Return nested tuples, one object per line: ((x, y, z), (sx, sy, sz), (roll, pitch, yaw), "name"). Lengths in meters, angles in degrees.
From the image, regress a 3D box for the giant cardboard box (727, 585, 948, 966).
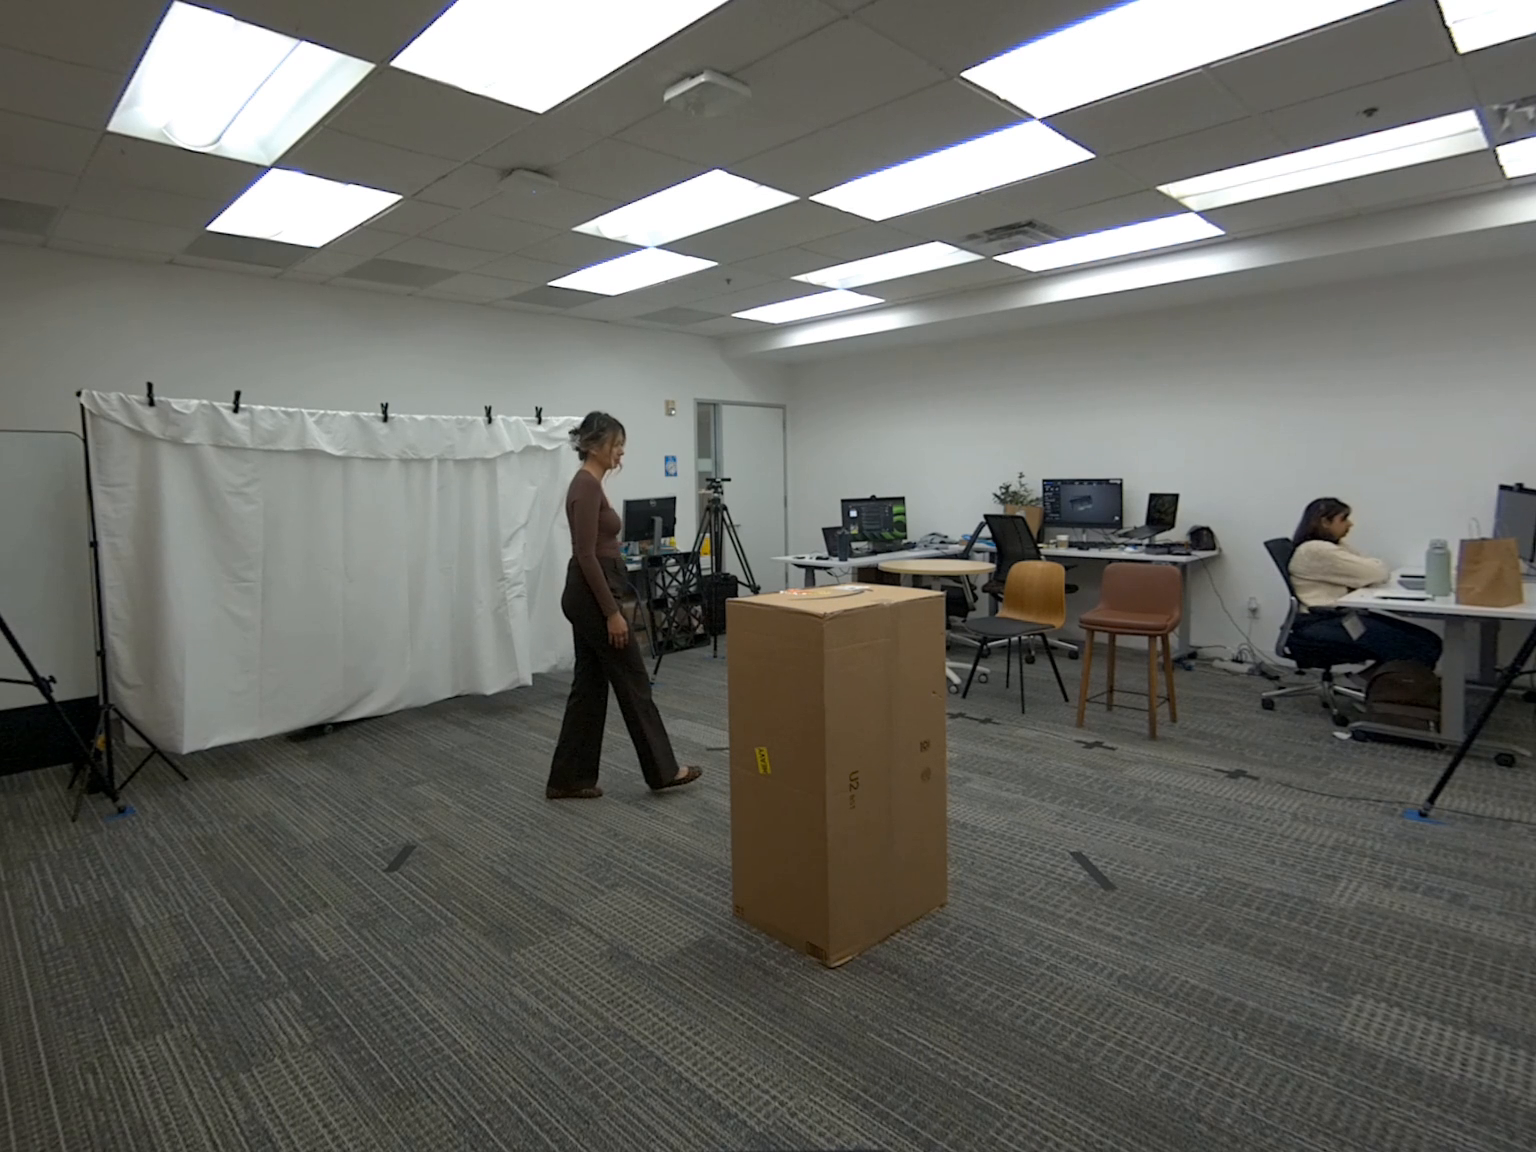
((0.228, 0.570, 2.736), (0.568, 1.024, 0.460), (-5, 5, -40), "giant cardboard box")
